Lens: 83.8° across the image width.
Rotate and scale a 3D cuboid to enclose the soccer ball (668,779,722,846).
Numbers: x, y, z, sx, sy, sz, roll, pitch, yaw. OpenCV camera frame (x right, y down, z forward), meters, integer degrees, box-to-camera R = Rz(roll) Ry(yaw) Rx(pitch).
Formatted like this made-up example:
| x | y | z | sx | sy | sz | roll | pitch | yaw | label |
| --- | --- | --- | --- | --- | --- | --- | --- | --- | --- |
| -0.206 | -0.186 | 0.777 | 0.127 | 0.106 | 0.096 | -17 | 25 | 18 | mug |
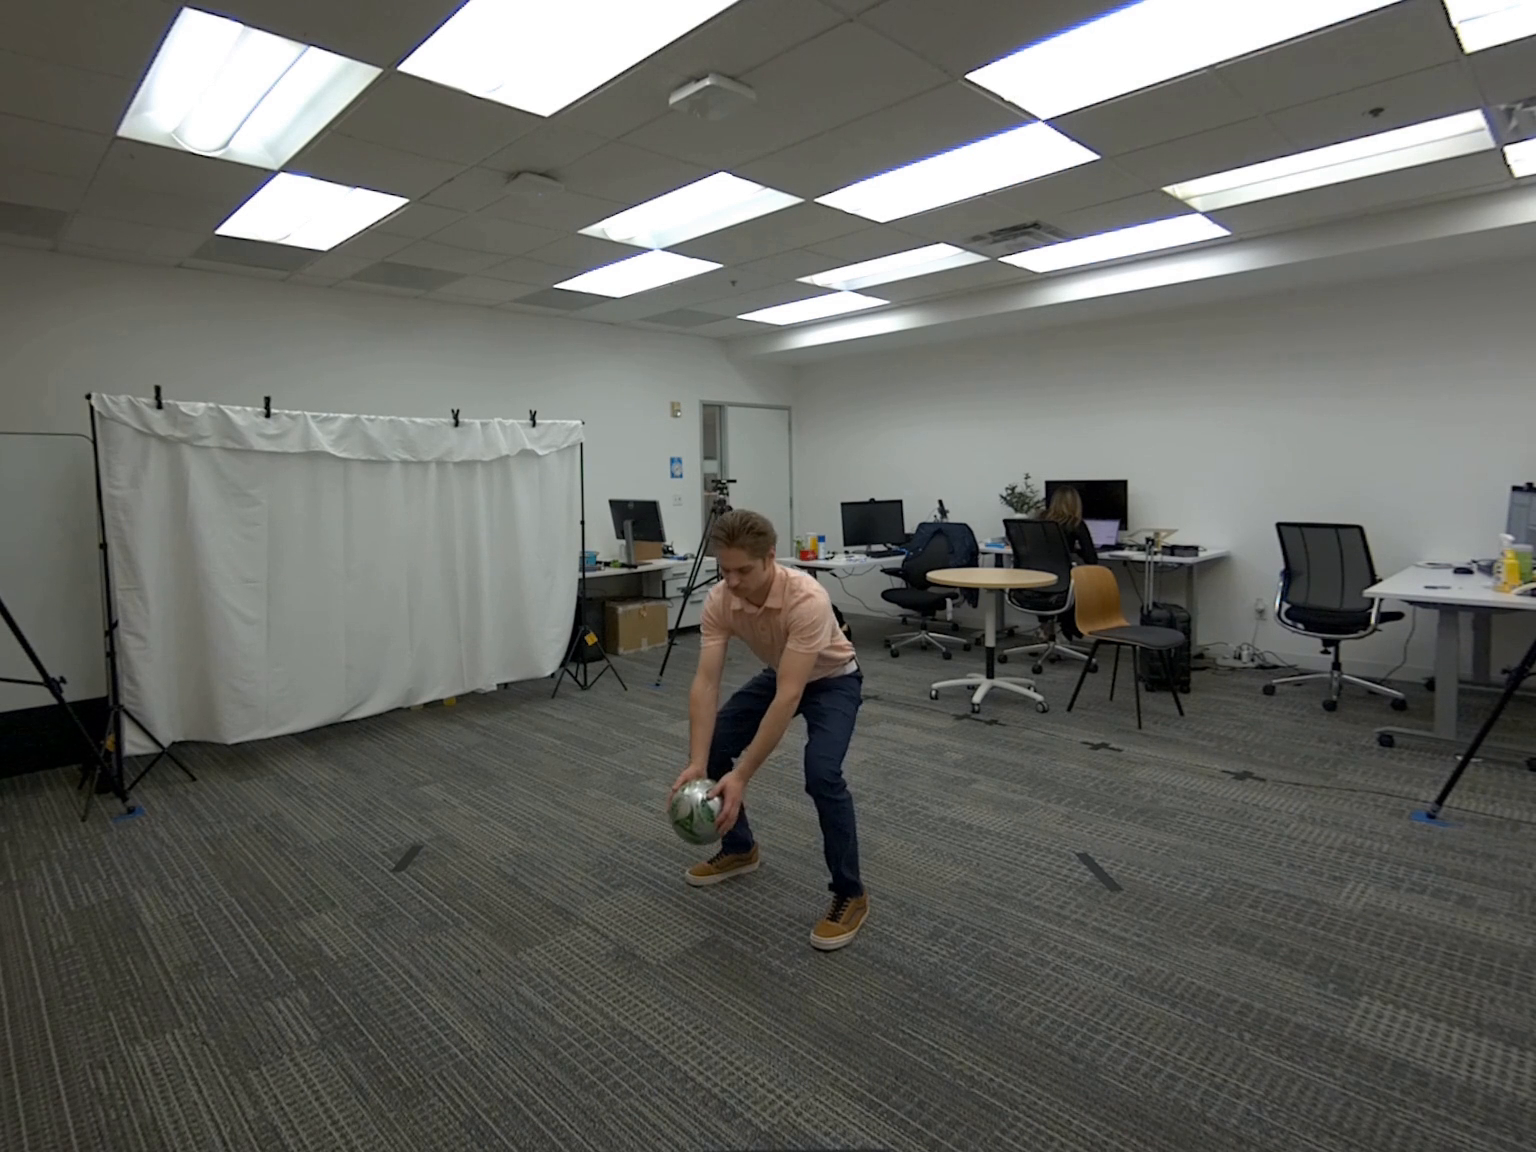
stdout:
| x | y | z | sx | sy | sz | roll | pitch | yaw | label |
| --- | --- | --- | --- | --- | --- | --- | --- | --- | --- |
| -0.193 | 0.693 | 2.489 | 0.187 | 0.187 | 0.188 | -1 | 5 | -2 | soccer ball |
